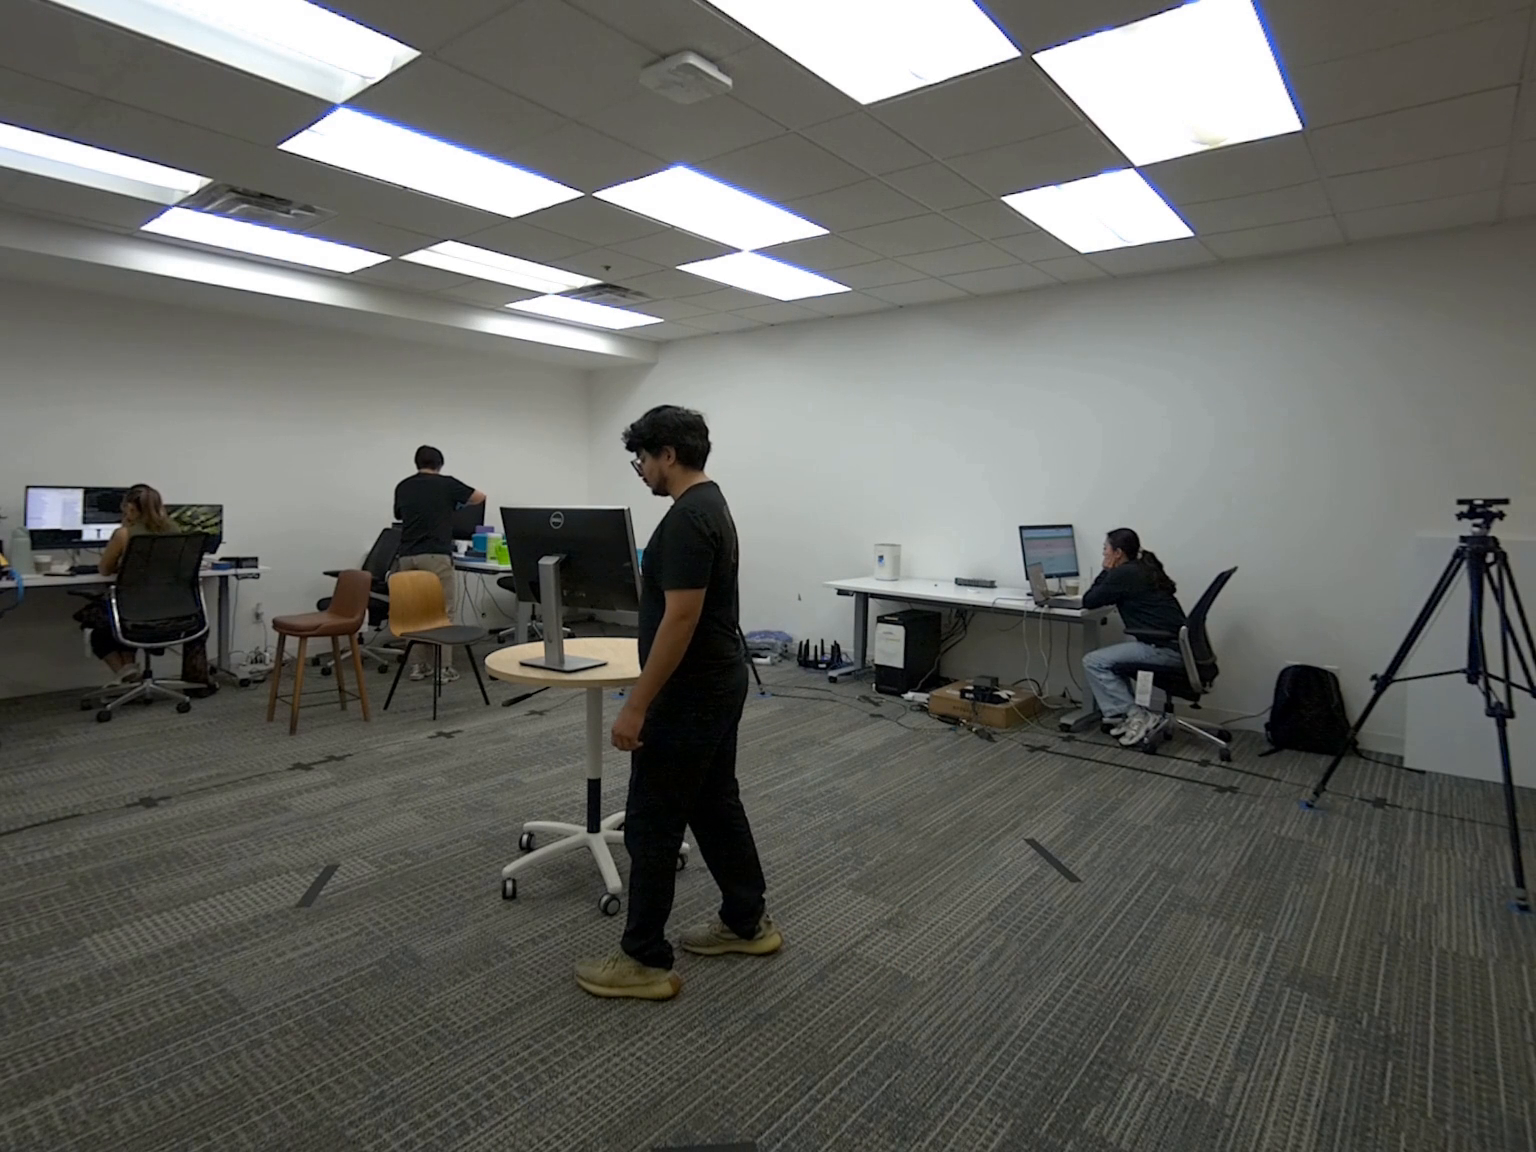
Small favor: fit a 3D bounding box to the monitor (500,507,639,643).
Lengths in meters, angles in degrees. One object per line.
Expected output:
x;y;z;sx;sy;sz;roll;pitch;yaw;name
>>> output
-0.722;0.038;2.873;0.581;0.549;0.206;3;10;29;monitor
